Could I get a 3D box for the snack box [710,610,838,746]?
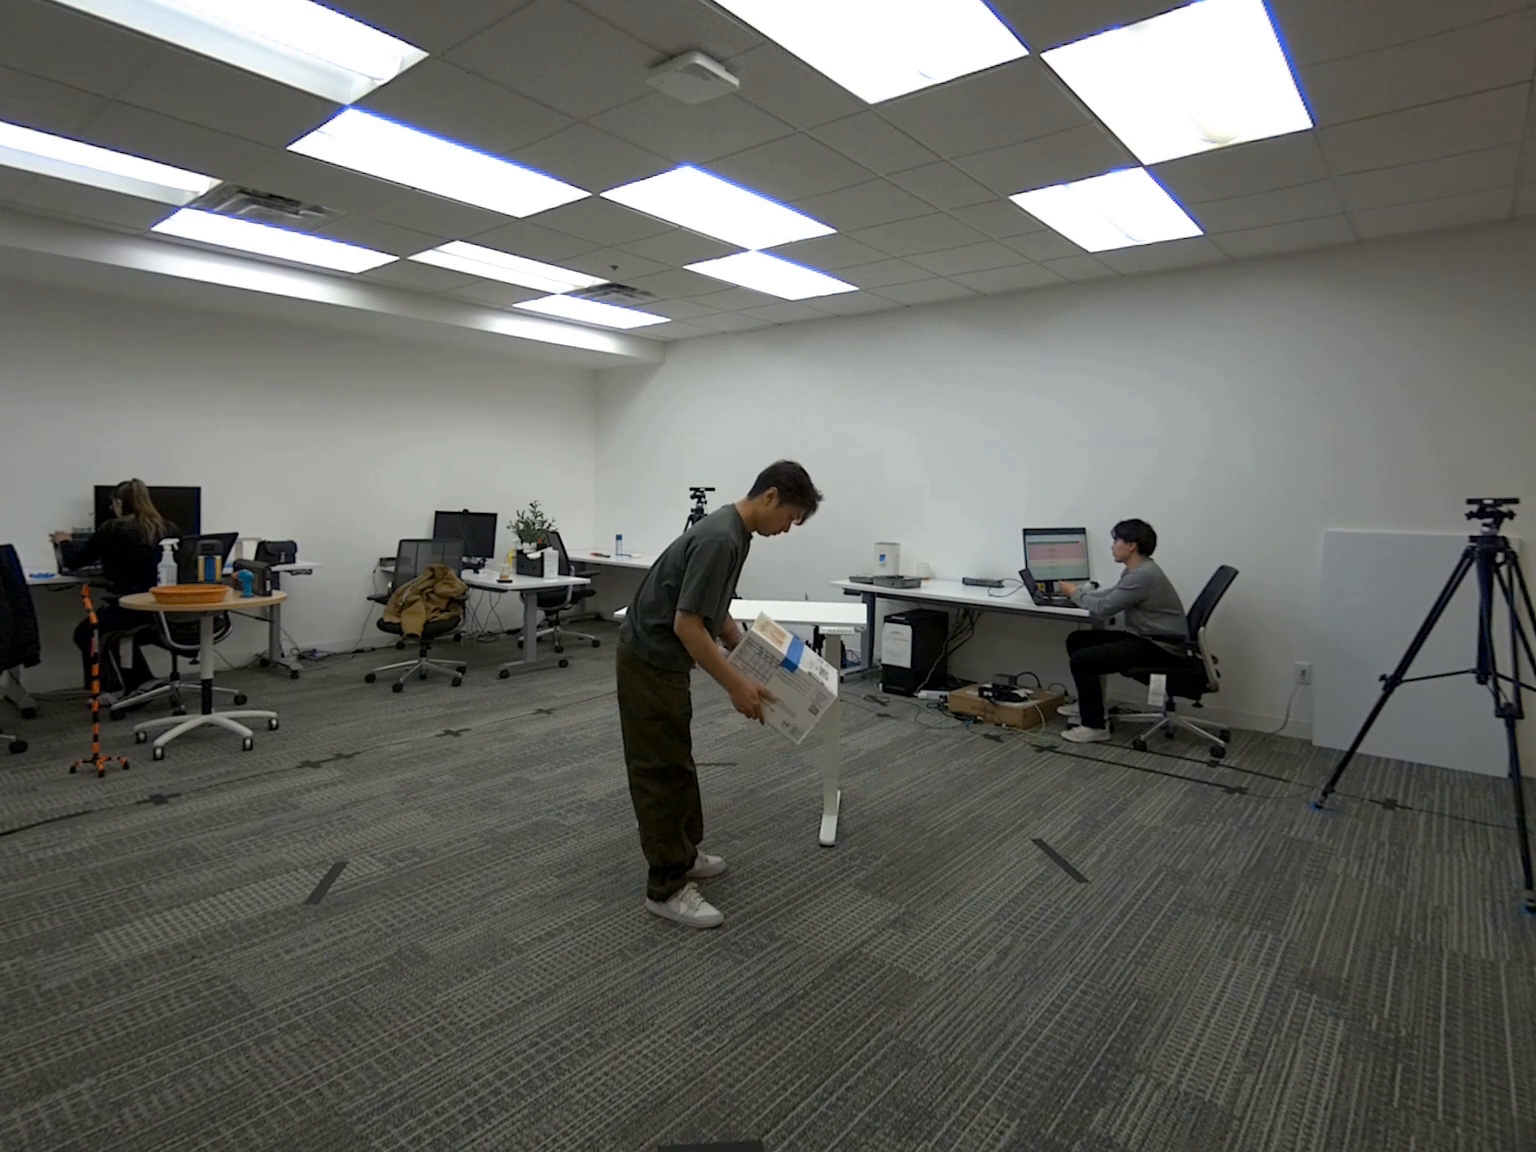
[{"bbox_3d":[0.030,0.326,2.836,0.342,0.205,0.403,36,7,2],"label":"snack box"}]
